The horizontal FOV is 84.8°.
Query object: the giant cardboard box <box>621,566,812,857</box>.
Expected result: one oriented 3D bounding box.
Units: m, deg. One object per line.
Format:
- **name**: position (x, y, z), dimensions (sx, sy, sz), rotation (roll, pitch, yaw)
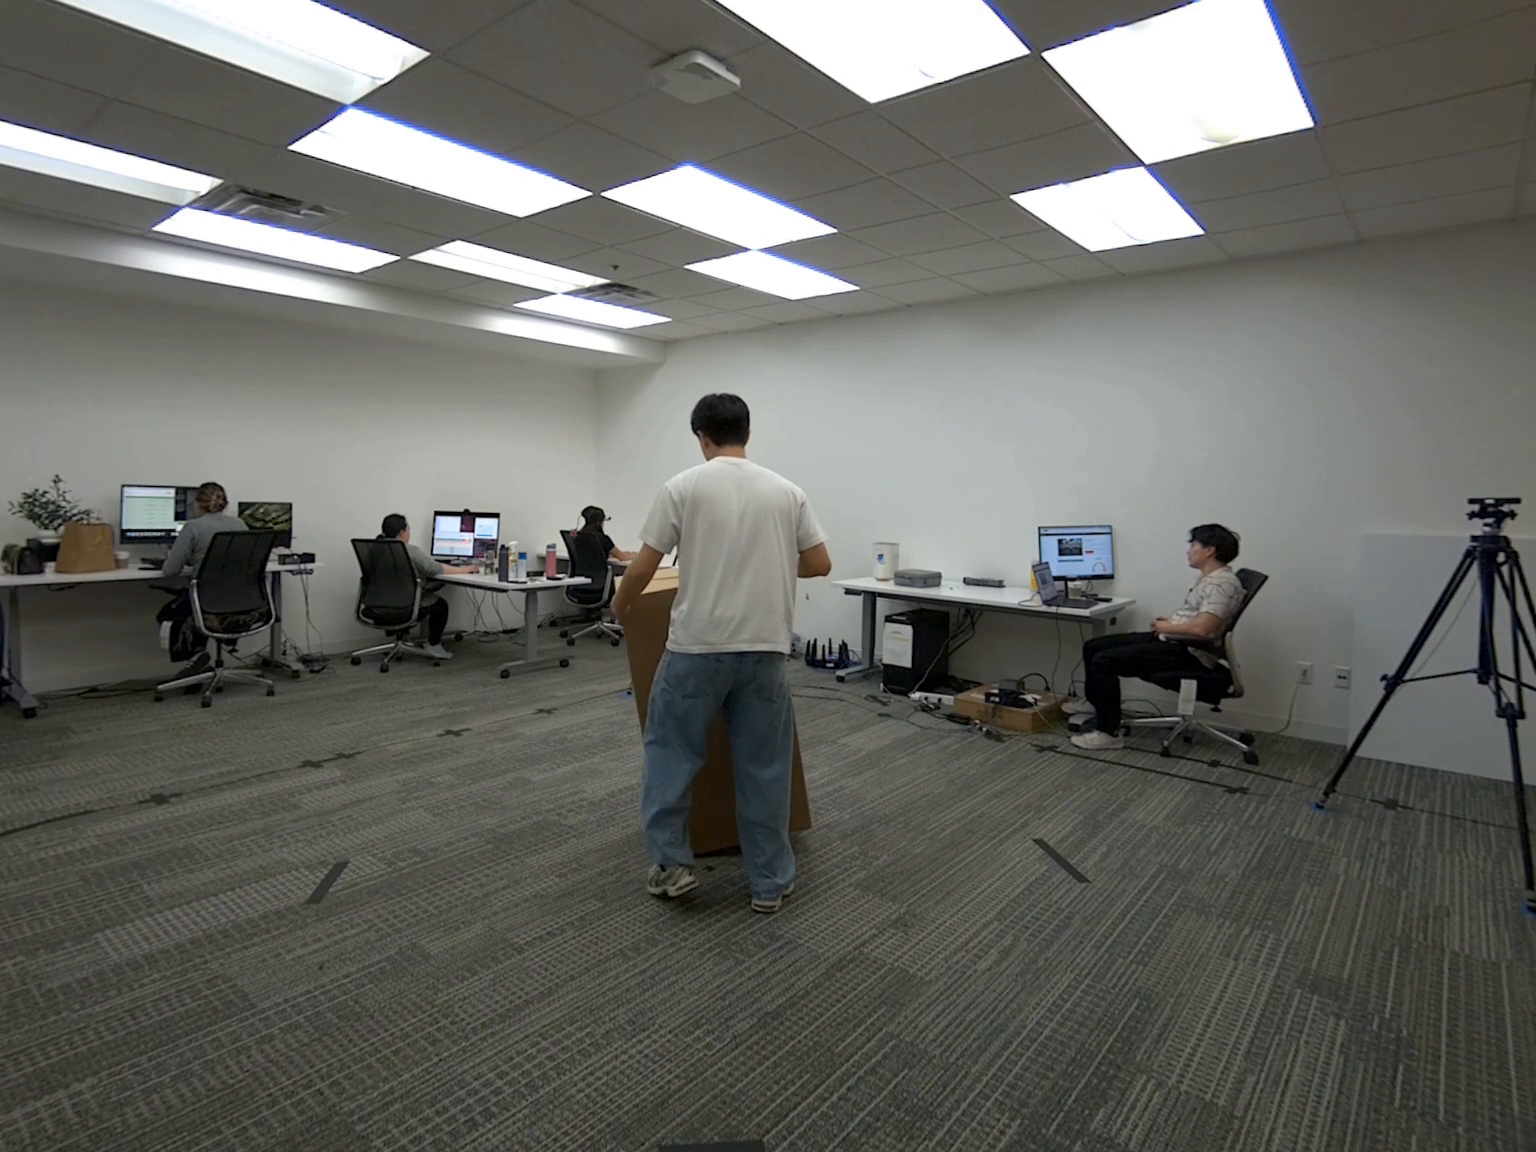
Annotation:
- **giant cardboard box**: position (-0.233, 0.486, 3.342), dimensions (0.574, 1.015, 0.433), rotation (-11, 9, -8)
